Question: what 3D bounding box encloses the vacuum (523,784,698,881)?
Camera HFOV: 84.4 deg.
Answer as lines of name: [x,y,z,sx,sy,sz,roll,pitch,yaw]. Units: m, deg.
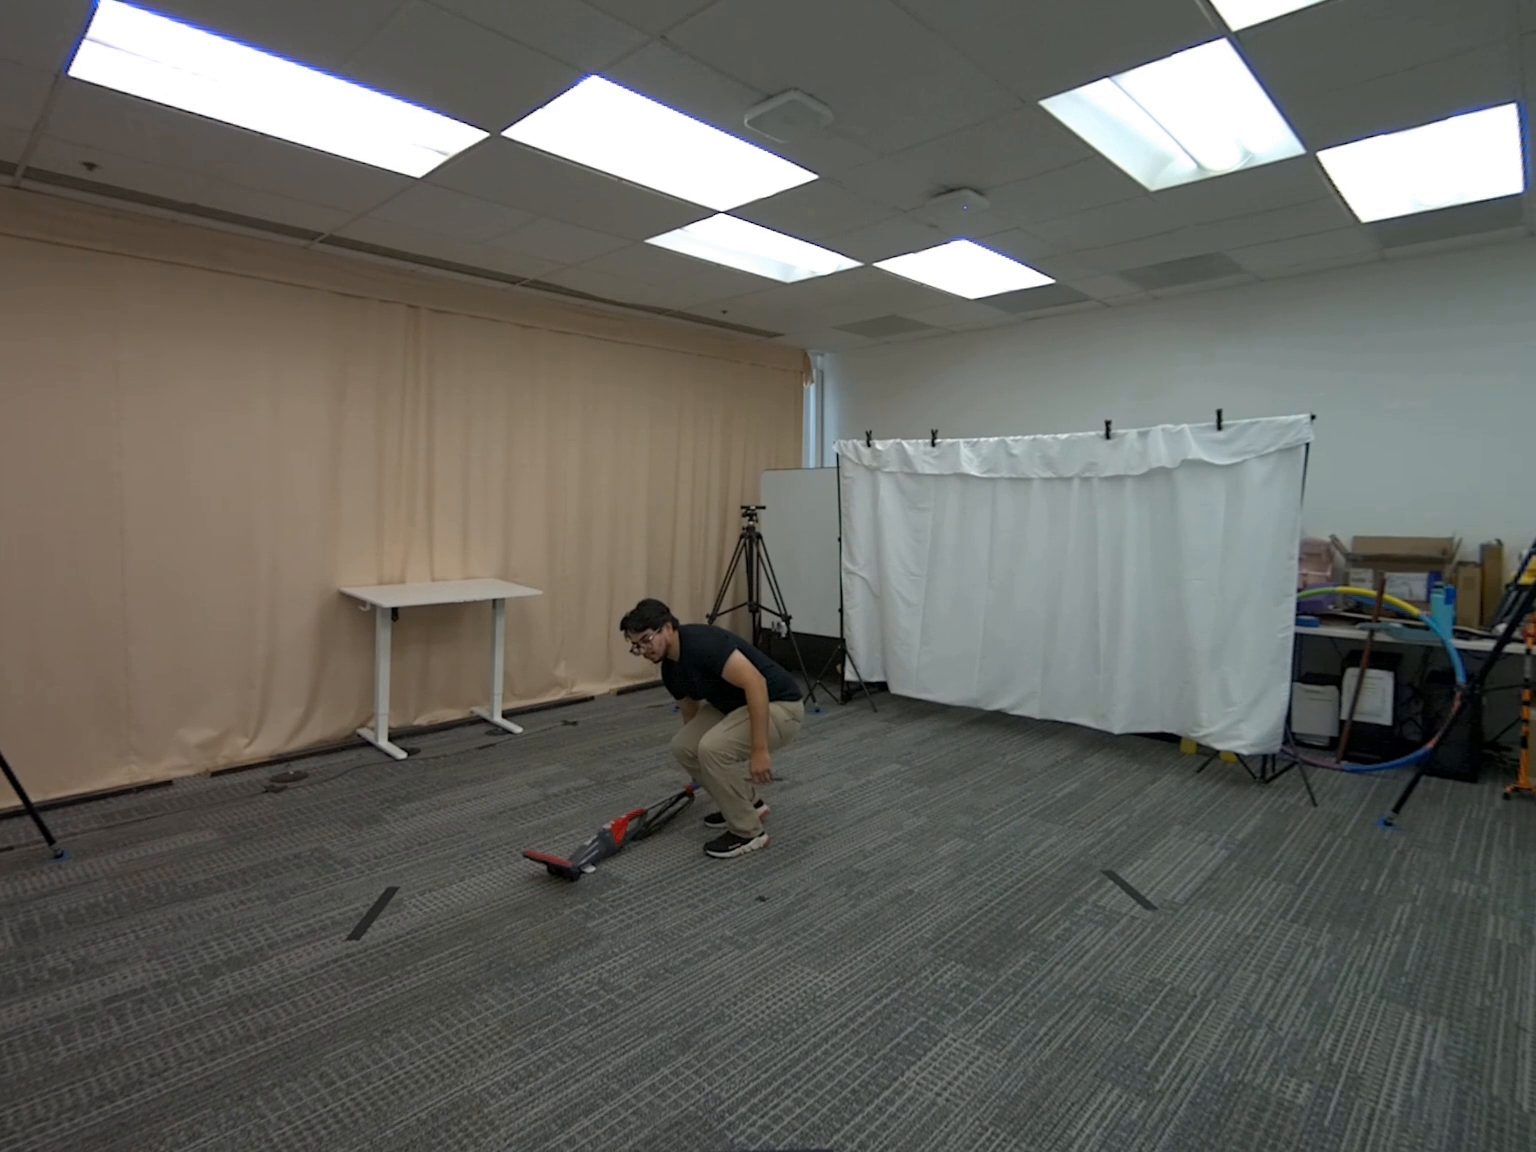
vacuum: [-0.531,1.044,3.552,0.260,0.143,1.021,3,6,32]
